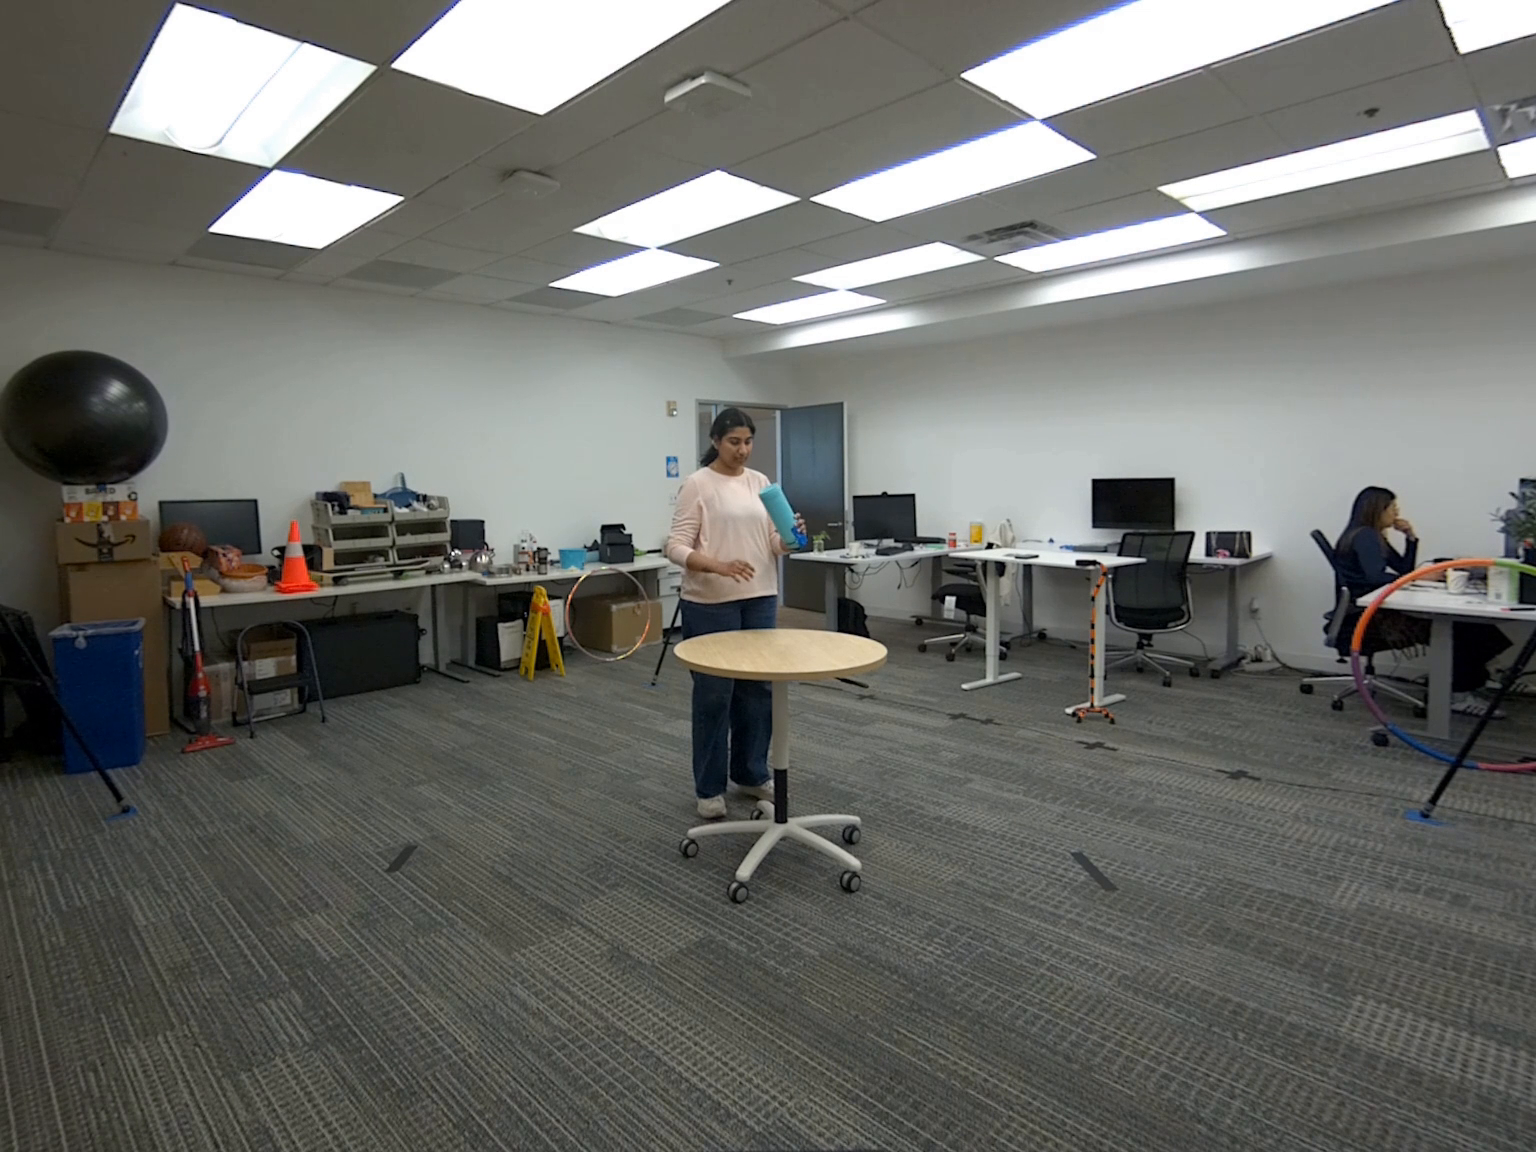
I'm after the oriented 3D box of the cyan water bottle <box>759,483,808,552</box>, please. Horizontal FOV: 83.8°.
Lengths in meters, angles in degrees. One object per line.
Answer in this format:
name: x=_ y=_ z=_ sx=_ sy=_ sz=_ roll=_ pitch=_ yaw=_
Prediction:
cyan water bottle: x=0.057 y=-0.220 z=3.353 sx=0.092 sy=0.279 sz=0.093 roll=-23 pitch=13 yaw=4
